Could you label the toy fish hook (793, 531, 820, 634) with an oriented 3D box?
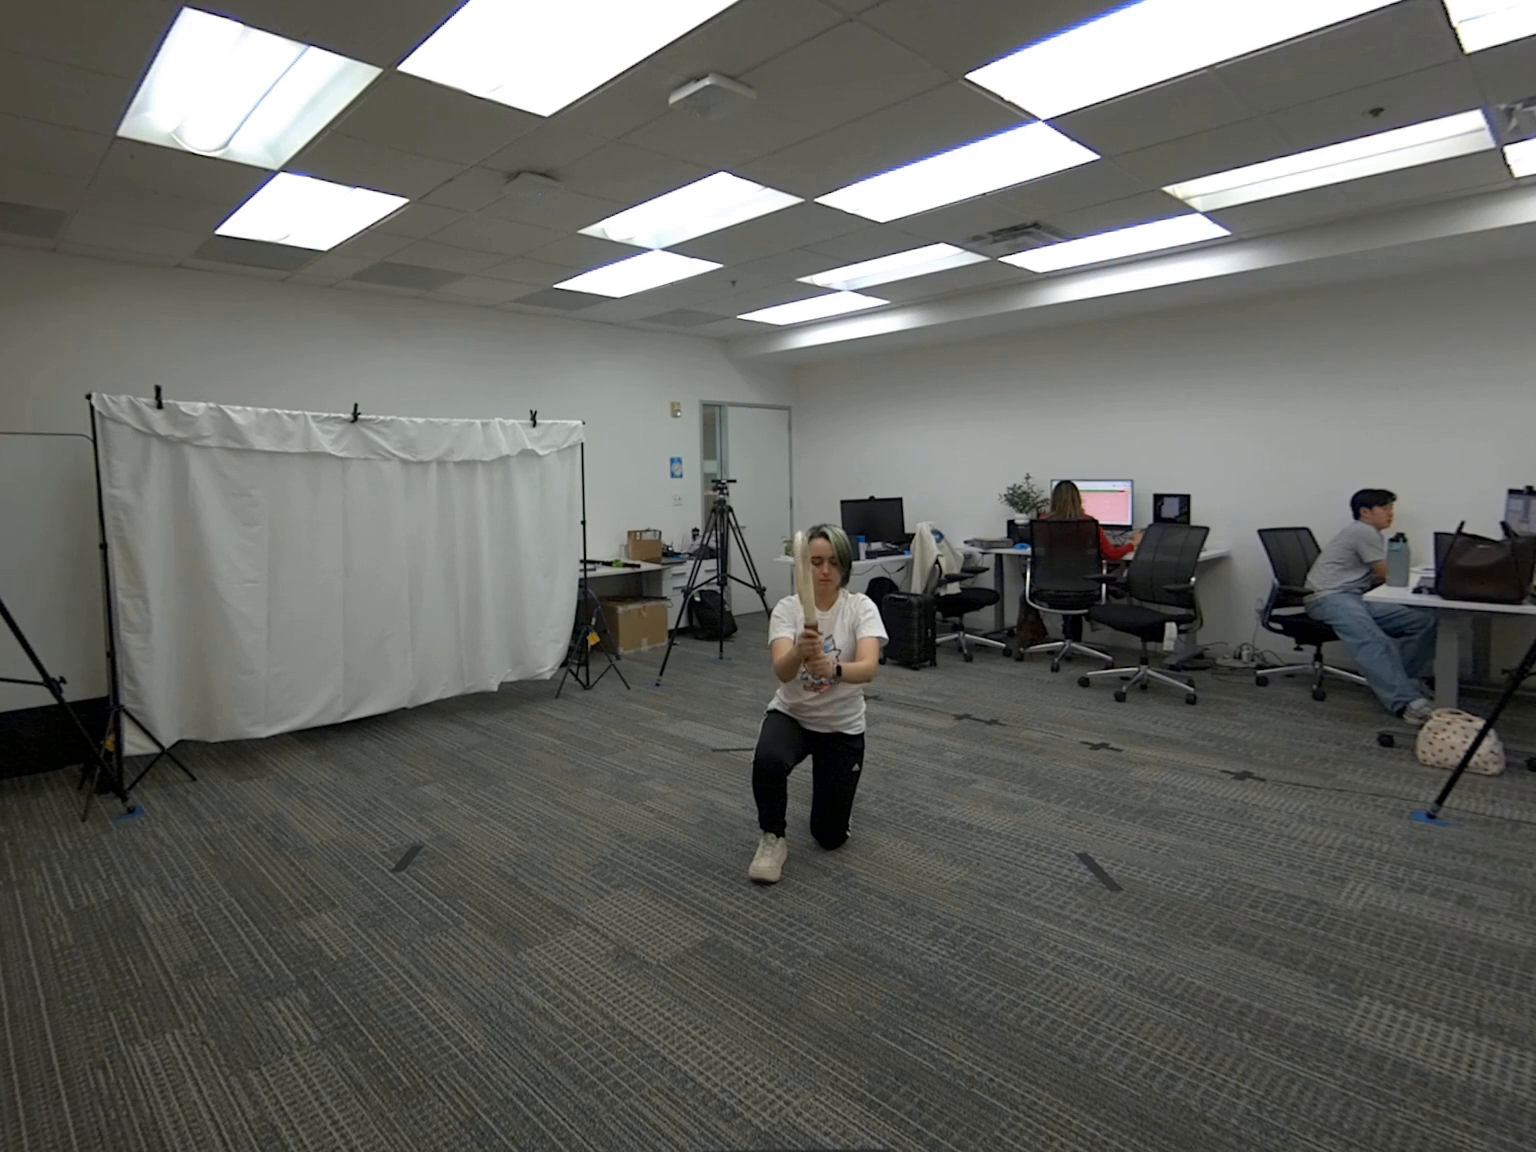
[{"bbox_3d":[0.123,0.123,2.659,0.049,0.499,0.224,-4,15,15],"label":"toy fish hook"}]
